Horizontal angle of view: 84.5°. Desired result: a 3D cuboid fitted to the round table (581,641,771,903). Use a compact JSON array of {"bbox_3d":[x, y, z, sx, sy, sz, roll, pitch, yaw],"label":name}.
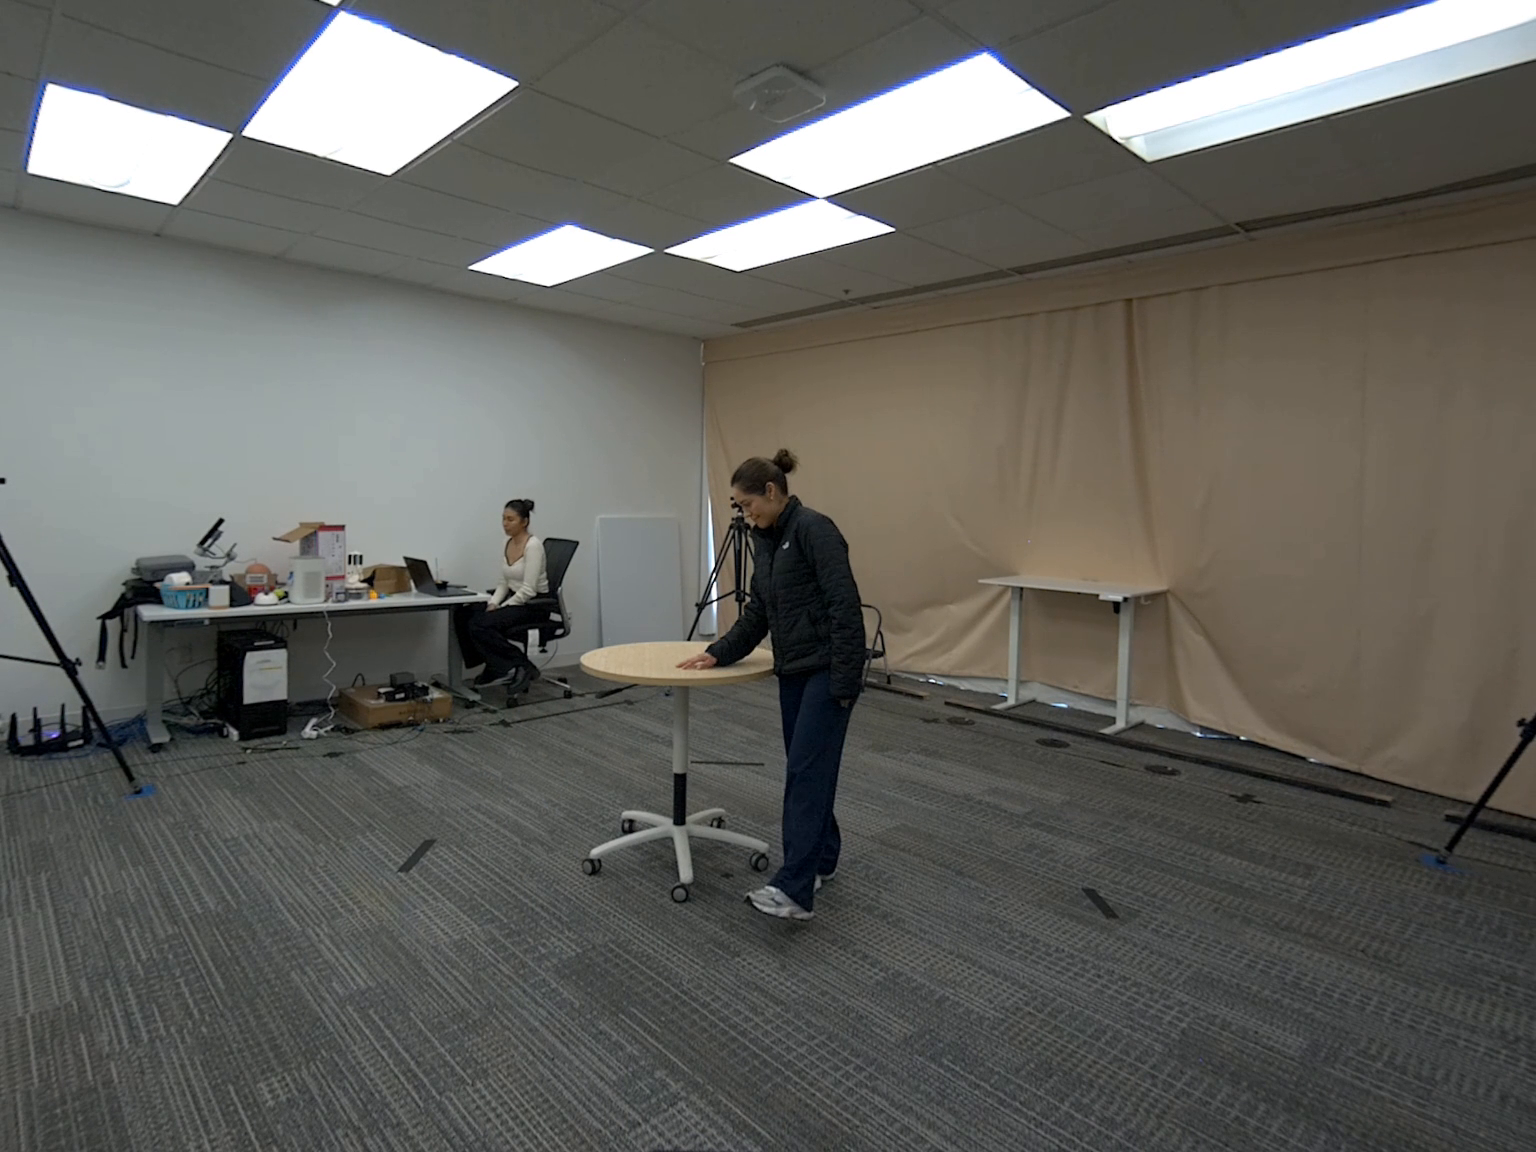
[{"bbox_3d":[-0.330,0.698,3.218,0.784,0.784,0.788,2,4,-1],"label":"round table"}]
